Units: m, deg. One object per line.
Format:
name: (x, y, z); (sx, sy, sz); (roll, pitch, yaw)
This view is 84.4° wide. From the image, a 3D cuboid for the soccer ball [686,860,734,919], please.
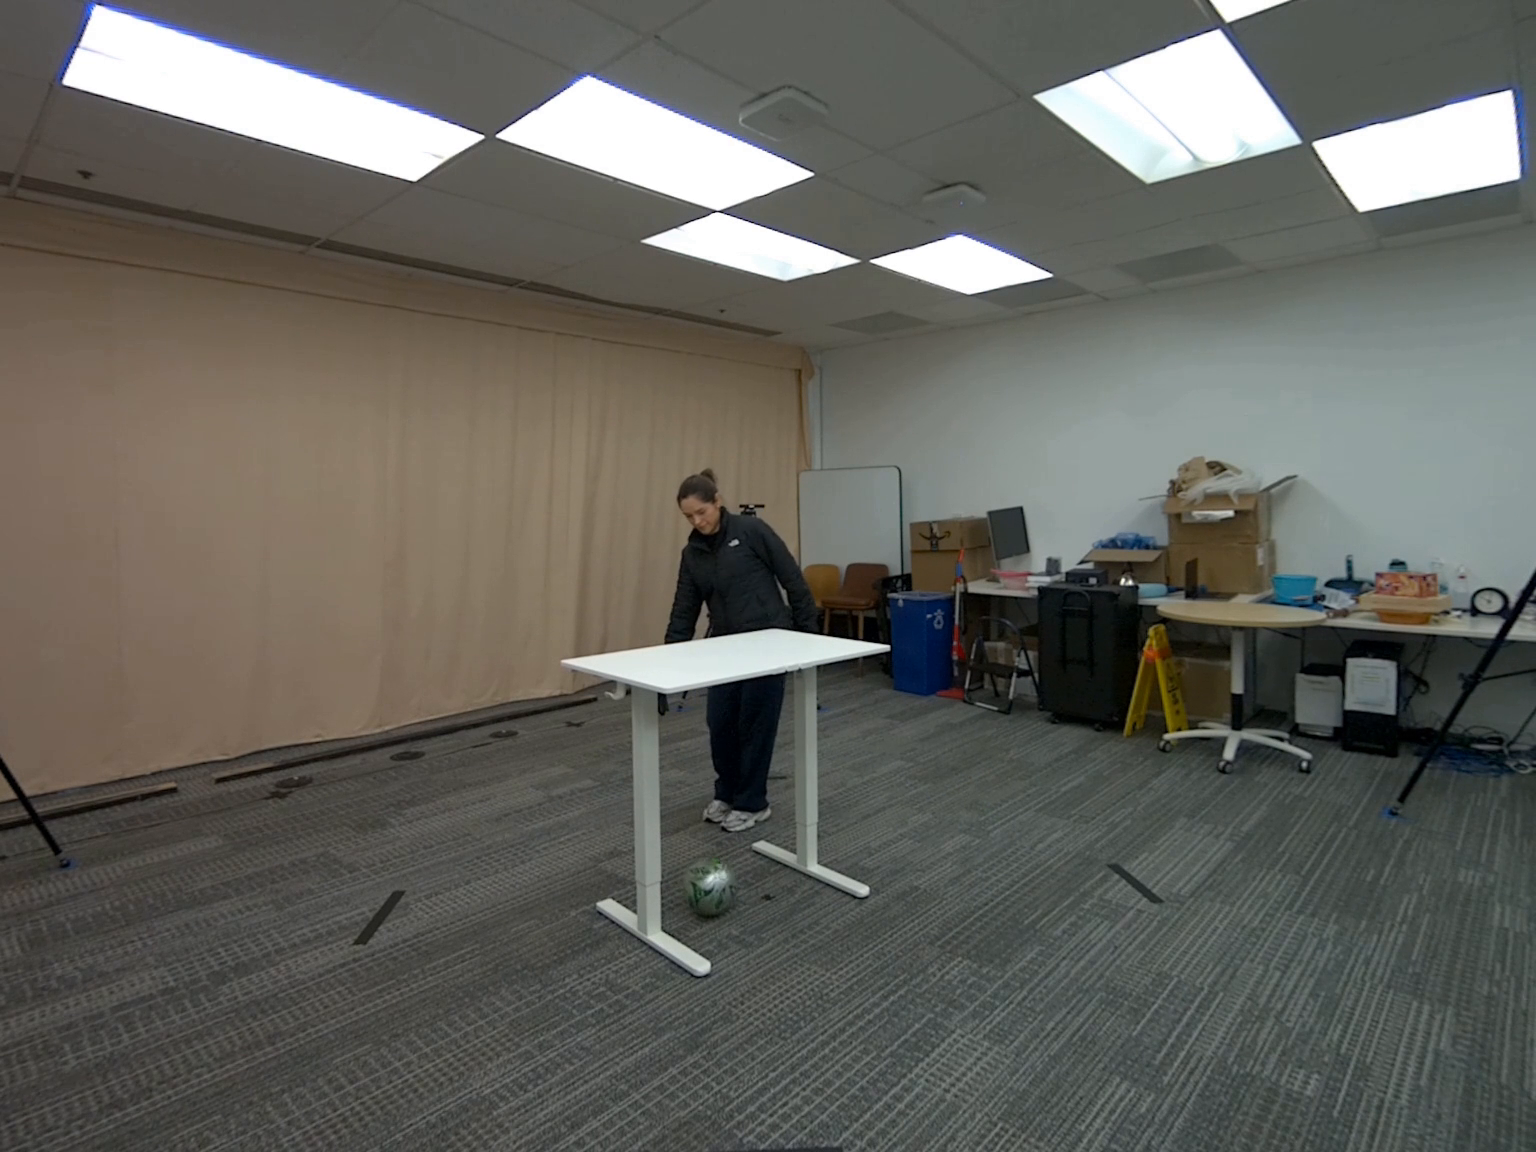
soccer ball: (-0.200, 1.053, 2.875); (0.187, 0.187, 0.188); (-1, 4, -2)
